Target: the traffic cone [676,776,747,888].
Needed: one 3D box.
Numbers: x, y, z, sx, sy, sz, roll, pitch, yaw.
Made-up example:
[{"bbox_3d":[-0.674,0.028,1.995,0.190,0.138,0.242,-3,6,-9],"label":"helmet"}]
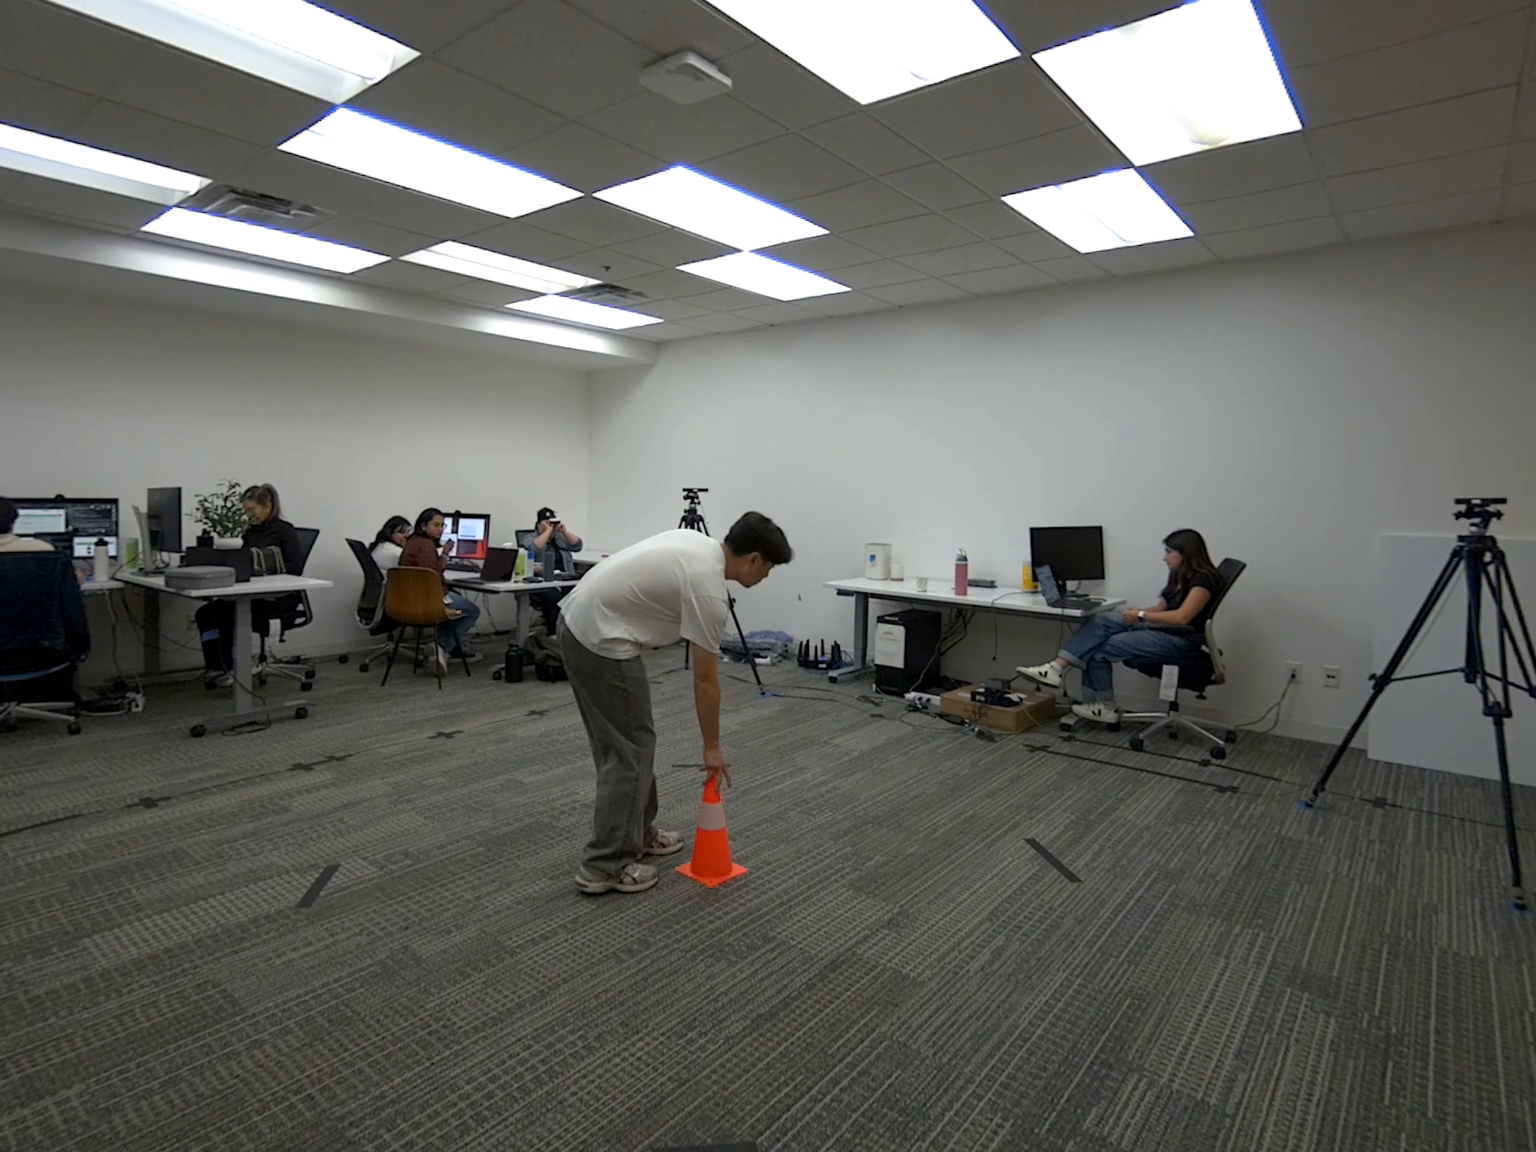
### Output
[{"bbox_3d":[-0.218,0.878,3.103,0.209,0.383,0.199,2,3,32],"label":"traffic cone"}]
